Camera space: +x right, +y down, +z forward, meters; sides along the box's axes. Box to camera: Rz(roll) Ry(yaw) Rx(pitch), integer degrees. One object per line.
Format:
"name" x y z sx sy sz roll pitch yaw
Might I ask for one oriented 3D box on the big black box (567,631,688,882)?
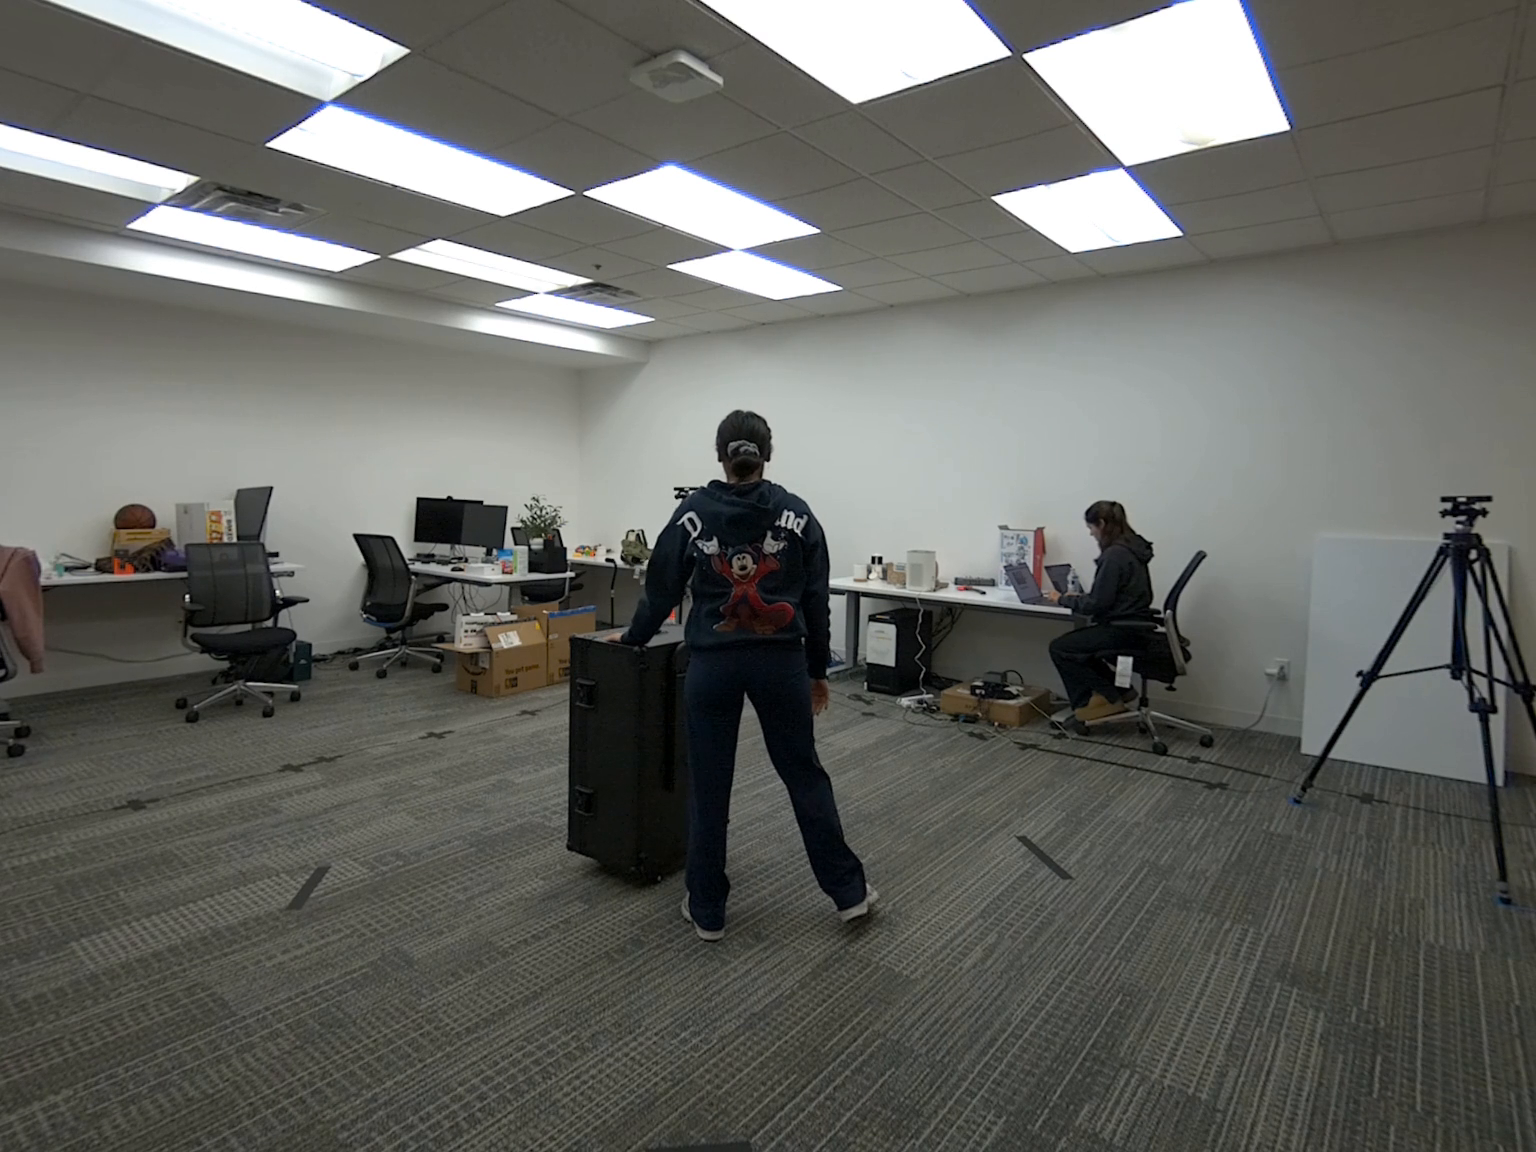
"big black box" -0.443 0.636 3.143 0.409 0.859 0.506 4 4 37
